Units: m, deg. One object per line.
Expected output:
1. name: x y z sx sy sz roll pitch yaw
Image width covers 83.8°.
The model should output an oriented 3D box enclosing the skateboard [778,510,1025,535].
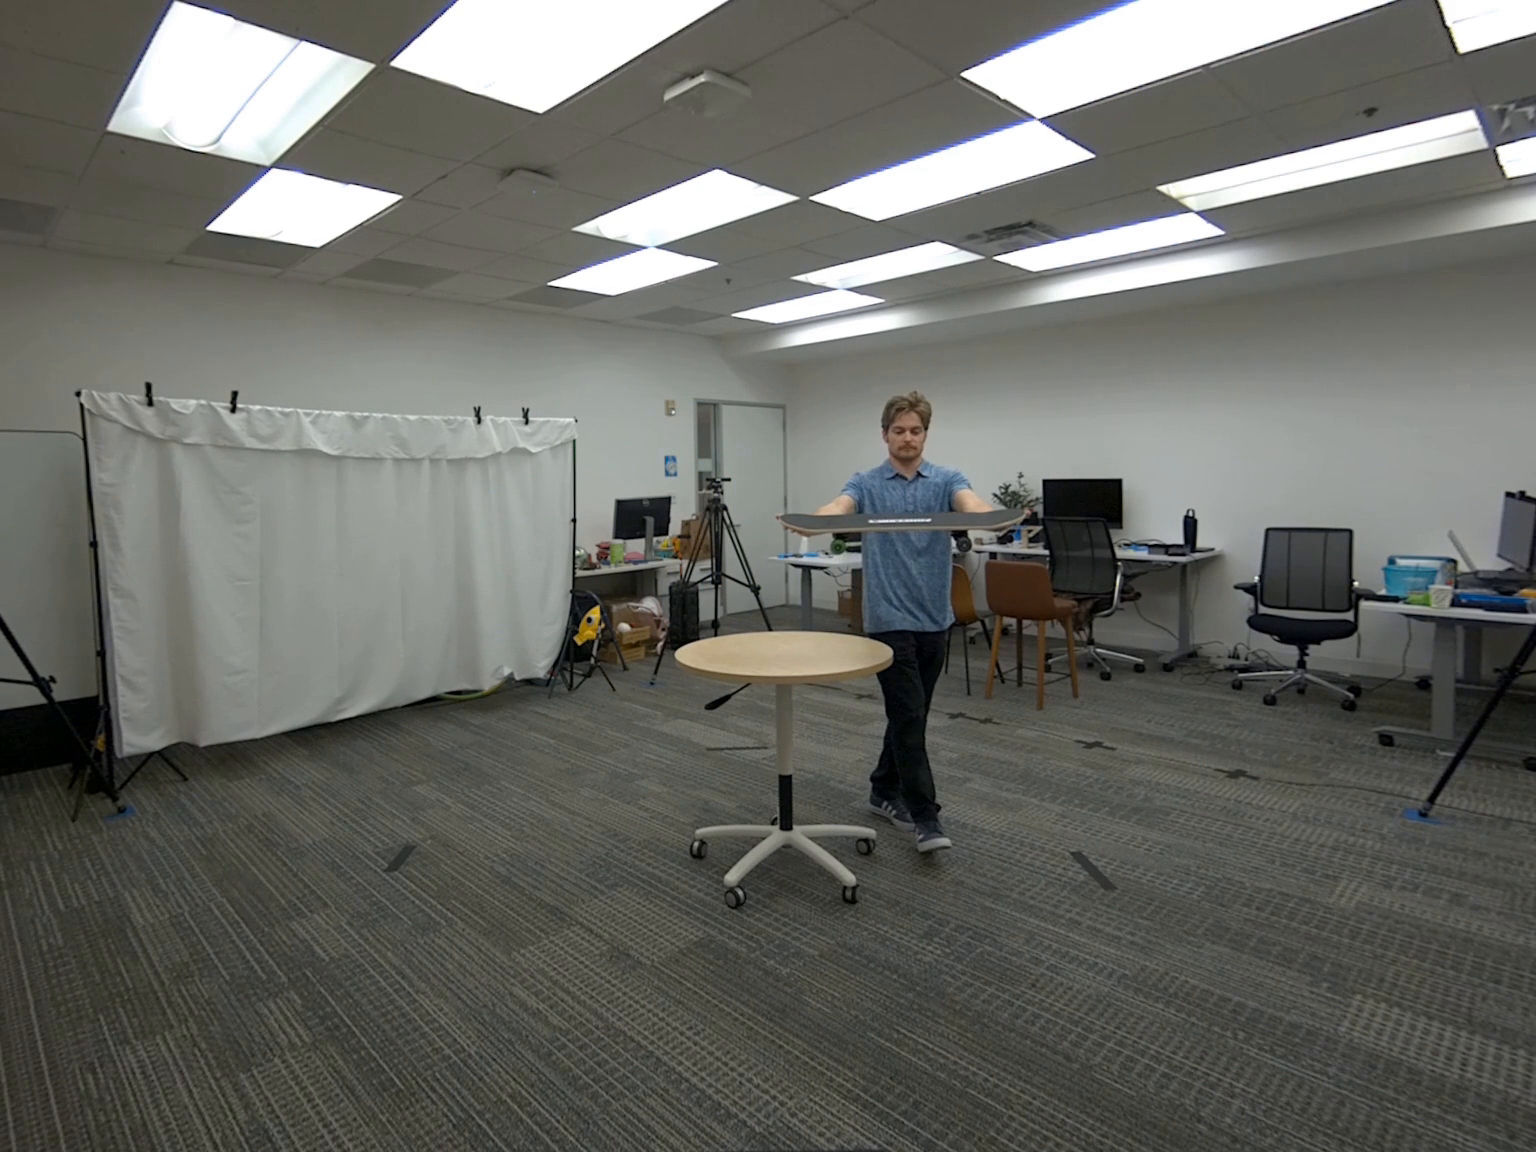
1. skateboard: 0.446 -0.150 2.809 0.793 0.109 0.194 -1 17 10
